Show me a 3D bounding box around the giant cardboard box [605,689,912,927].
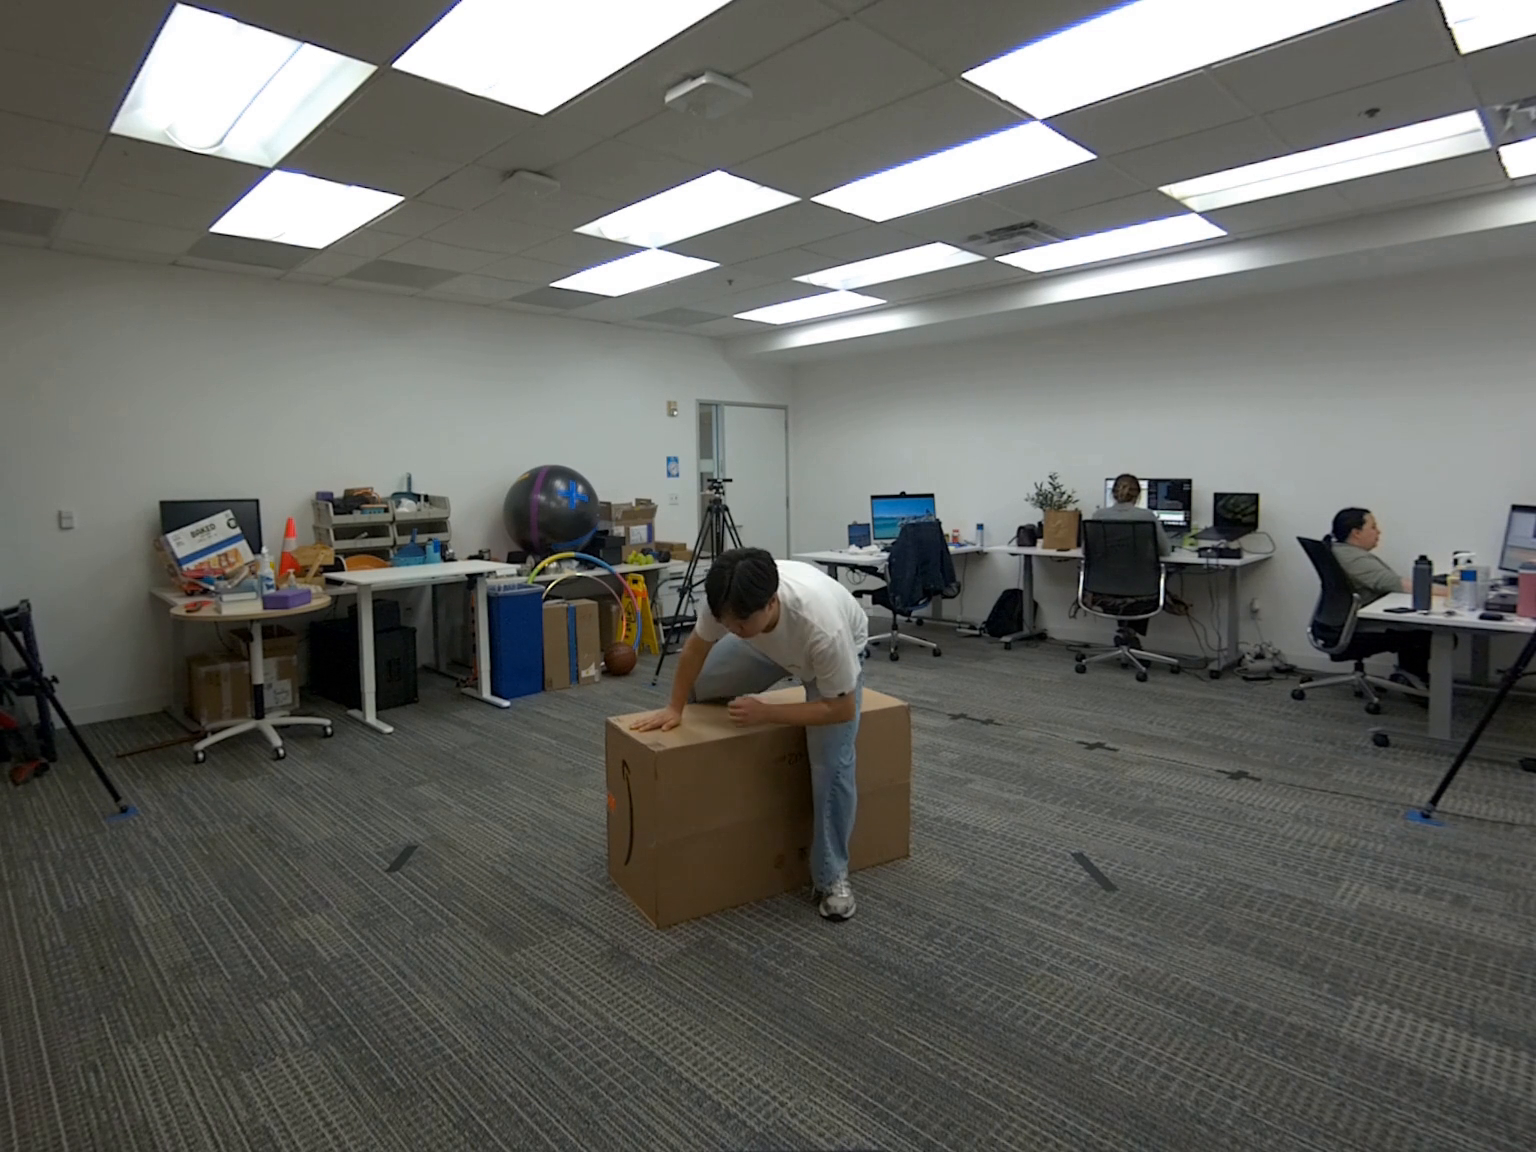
[{"bbox_3d":[-0.023,0.763,3.065,1.002,0.575,0.438,-4,7,-29],"label":"giant cardboard box"}]
